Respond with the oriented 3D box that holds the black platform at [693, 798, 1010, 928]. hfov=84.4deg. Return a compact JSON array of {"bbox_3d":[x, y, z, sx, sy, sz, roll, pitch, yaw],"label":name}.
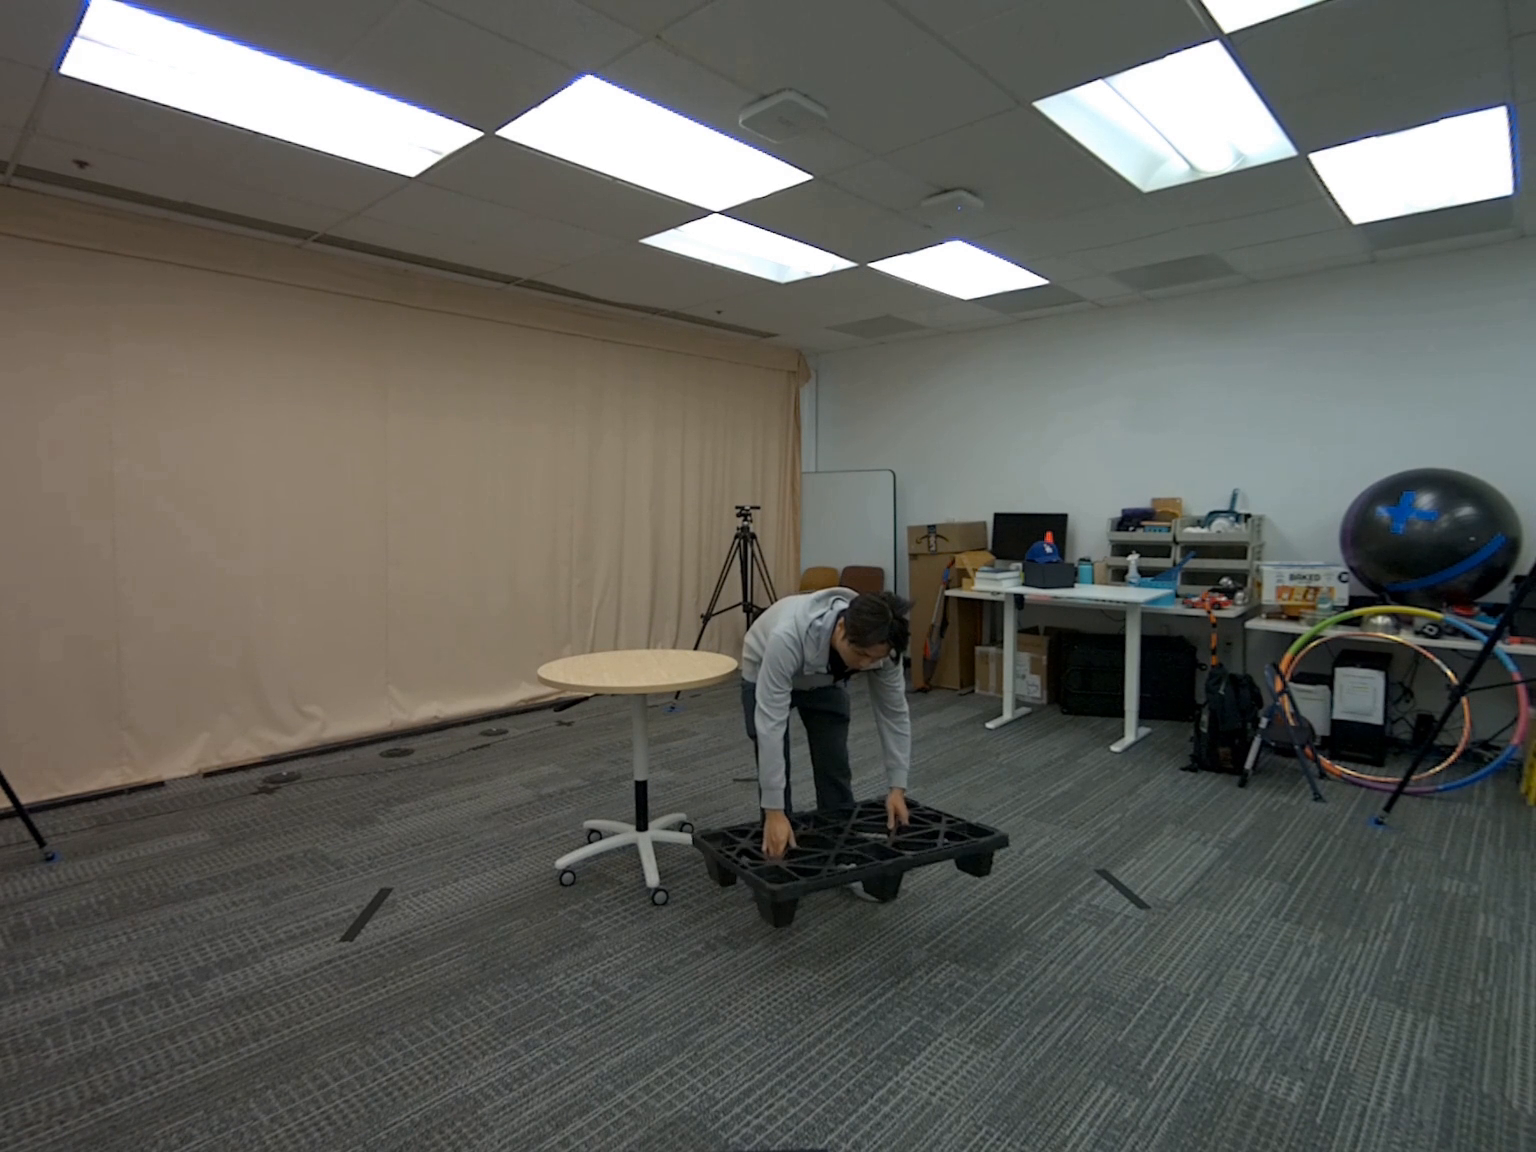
[{"bbox_3d":[0.240,0.872,2.622,0.788,0.143,0.618,-3,-1,-24],"label":"black platform"}]
